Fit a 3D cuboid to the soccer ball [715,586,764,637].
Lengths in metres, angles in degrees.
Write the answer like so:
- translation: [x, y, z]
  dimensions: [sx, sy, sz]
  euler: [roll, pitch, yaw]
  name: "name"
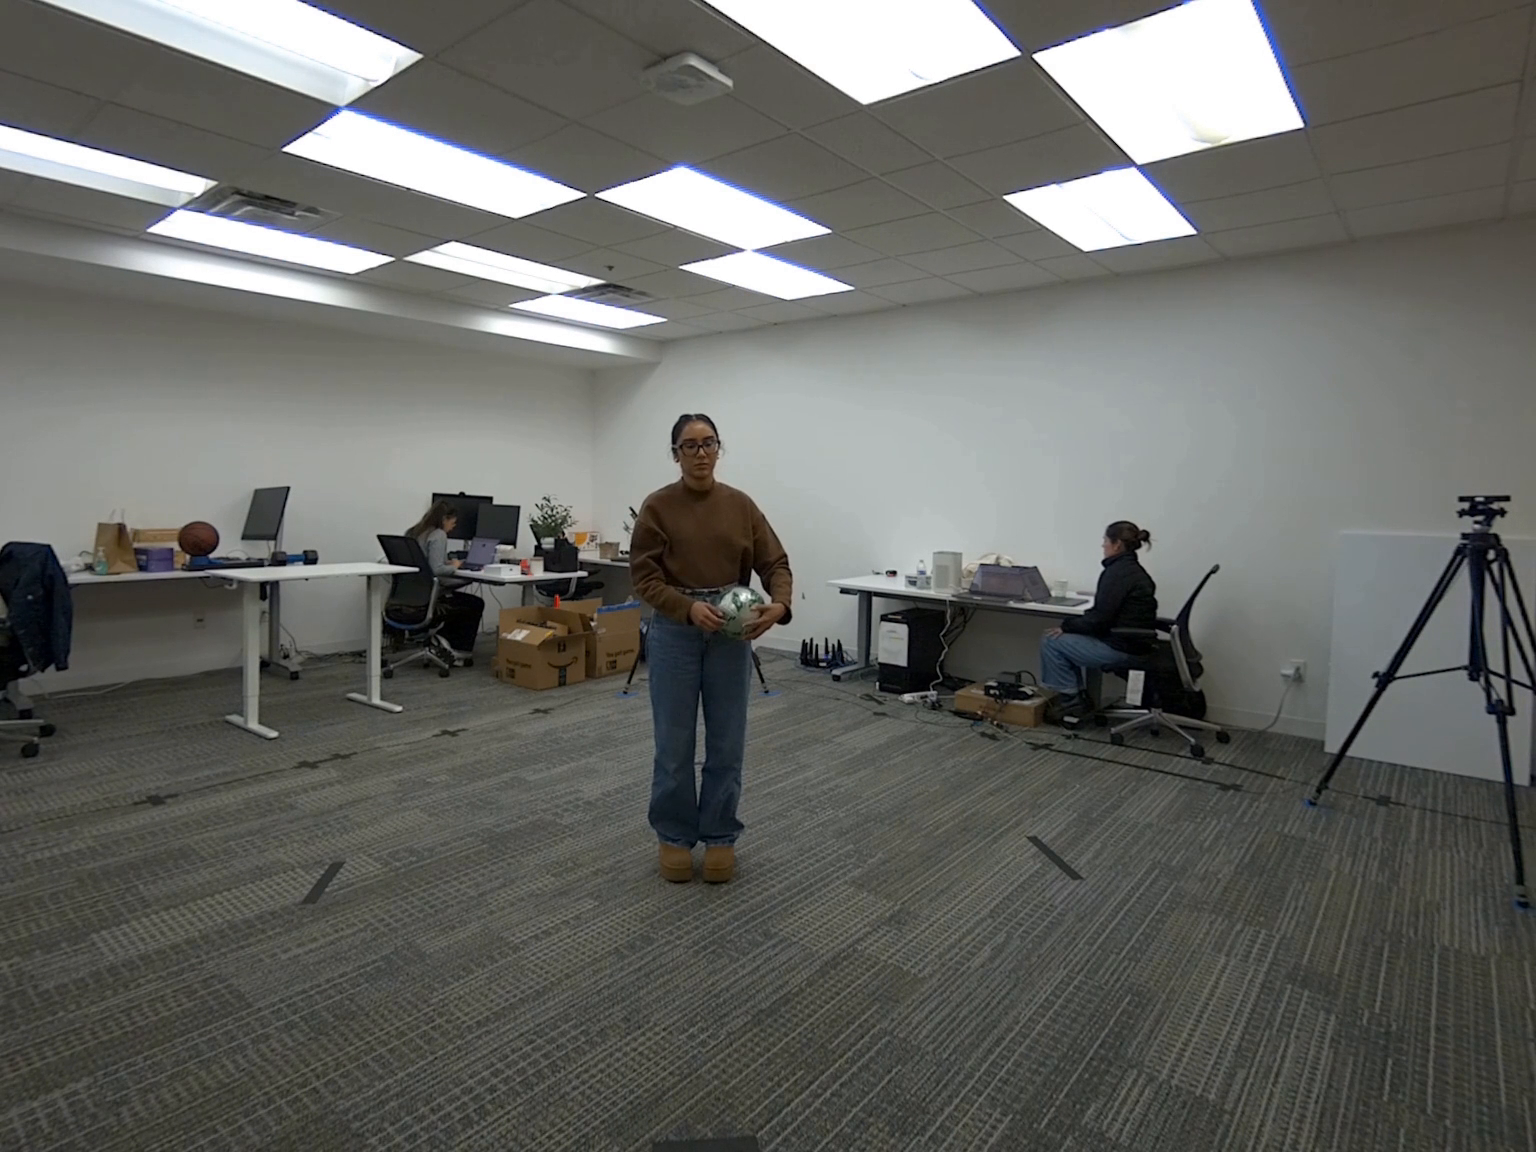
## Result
- translation: [-0.106, 0.122, 2.925]
  dimensions: [0.187, 0.187, 0.188]
  euler: [1, 4, -2]
  name: "soccer ball"
